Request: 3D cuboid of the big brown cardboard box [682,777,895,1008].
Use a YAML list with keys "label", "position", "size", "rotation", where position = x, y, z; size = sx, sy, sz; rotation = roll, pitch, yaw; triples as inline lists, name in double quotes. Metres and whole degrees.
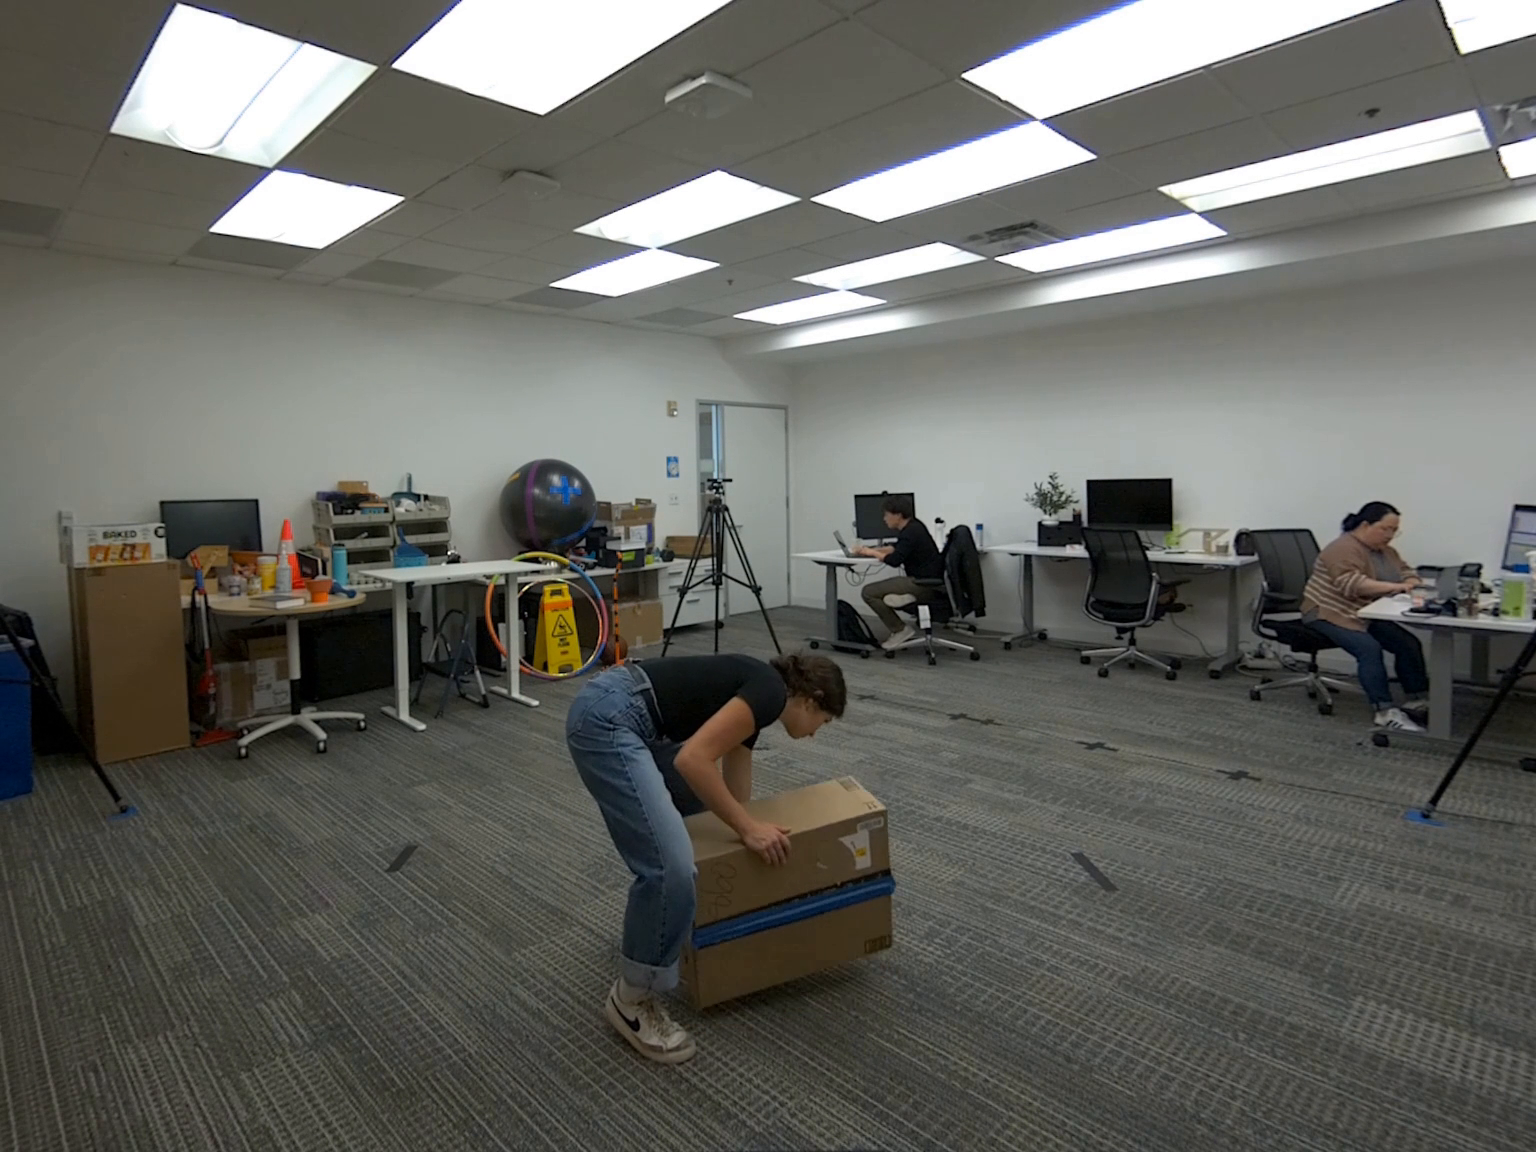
- label: "big brown cardboard box"
  position: [0.046, 0.837, 2.323]
  size: [0.581, 0.413, 0.239]
  rotation: [-9, 12, -17]
